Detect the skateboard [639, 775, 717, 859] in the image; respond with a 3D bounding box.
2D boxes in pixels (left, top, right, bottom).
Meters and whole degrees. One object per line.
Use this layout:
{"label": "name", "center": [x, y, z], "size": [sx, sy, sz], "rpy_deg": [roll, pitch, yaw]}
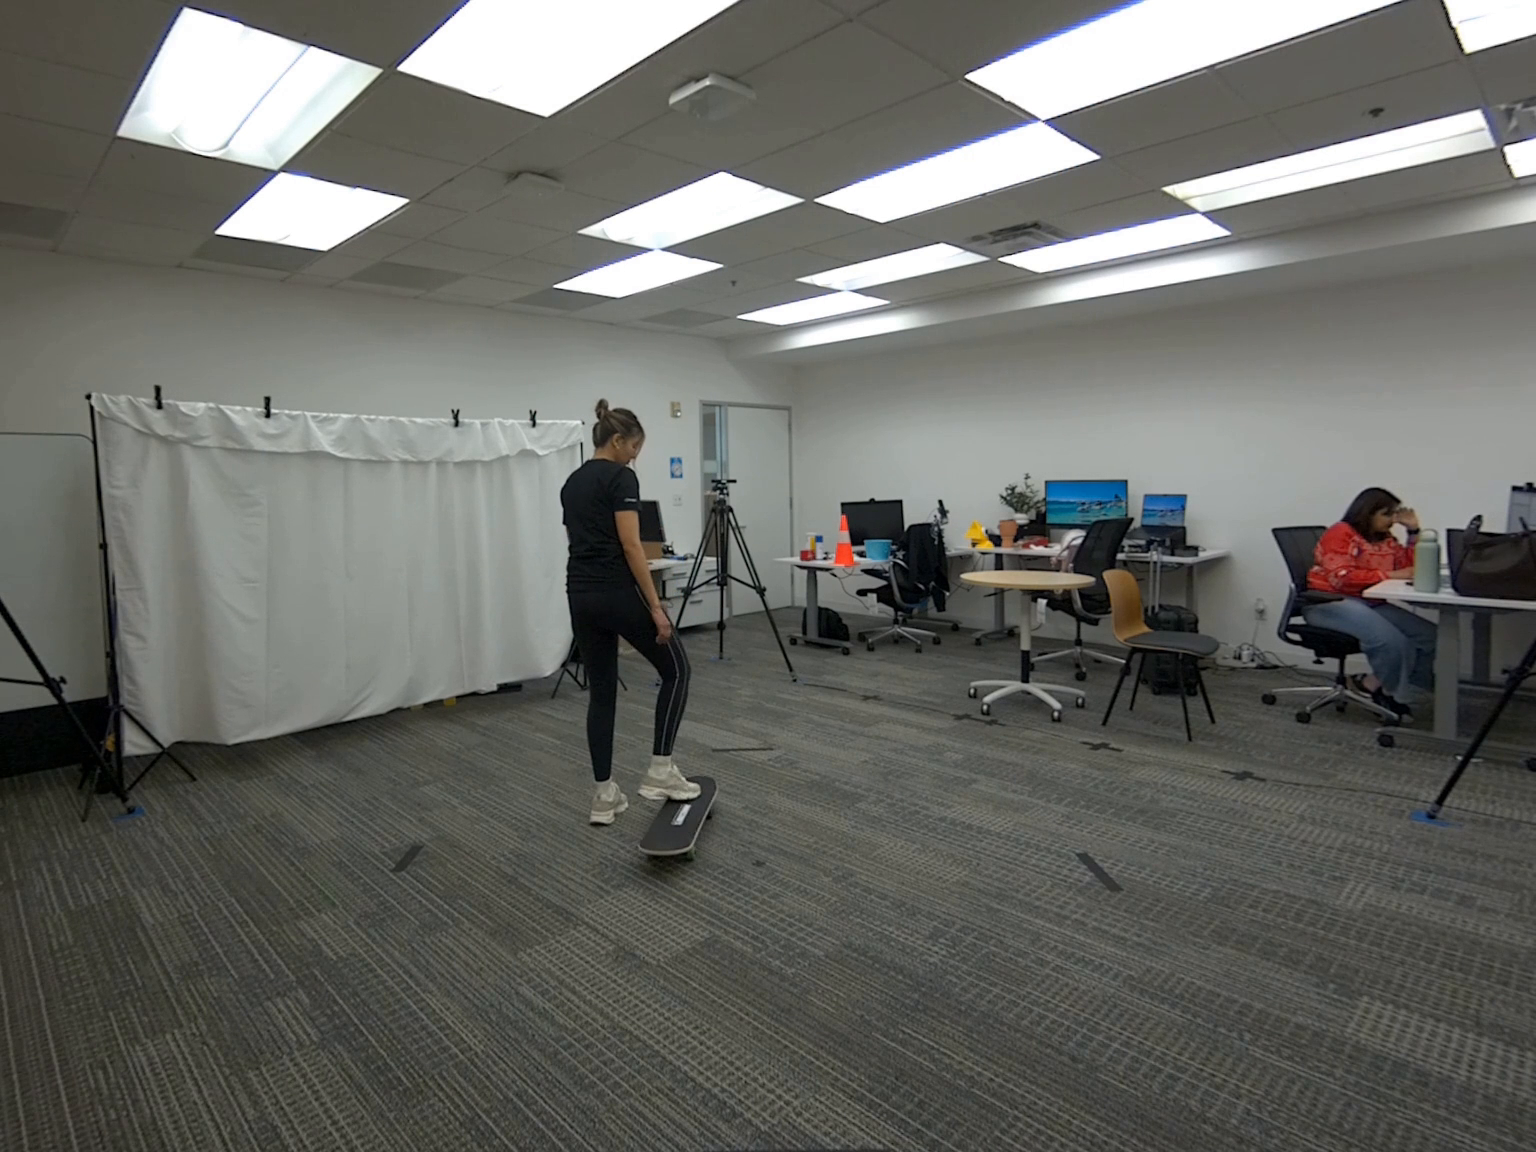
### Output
{"label": "skateboard", "center": [-0.337, 0.968, 3.357], "size": [0.195, 0.110, 0.782], "rpy_deg": [-2, 6, 7]}
